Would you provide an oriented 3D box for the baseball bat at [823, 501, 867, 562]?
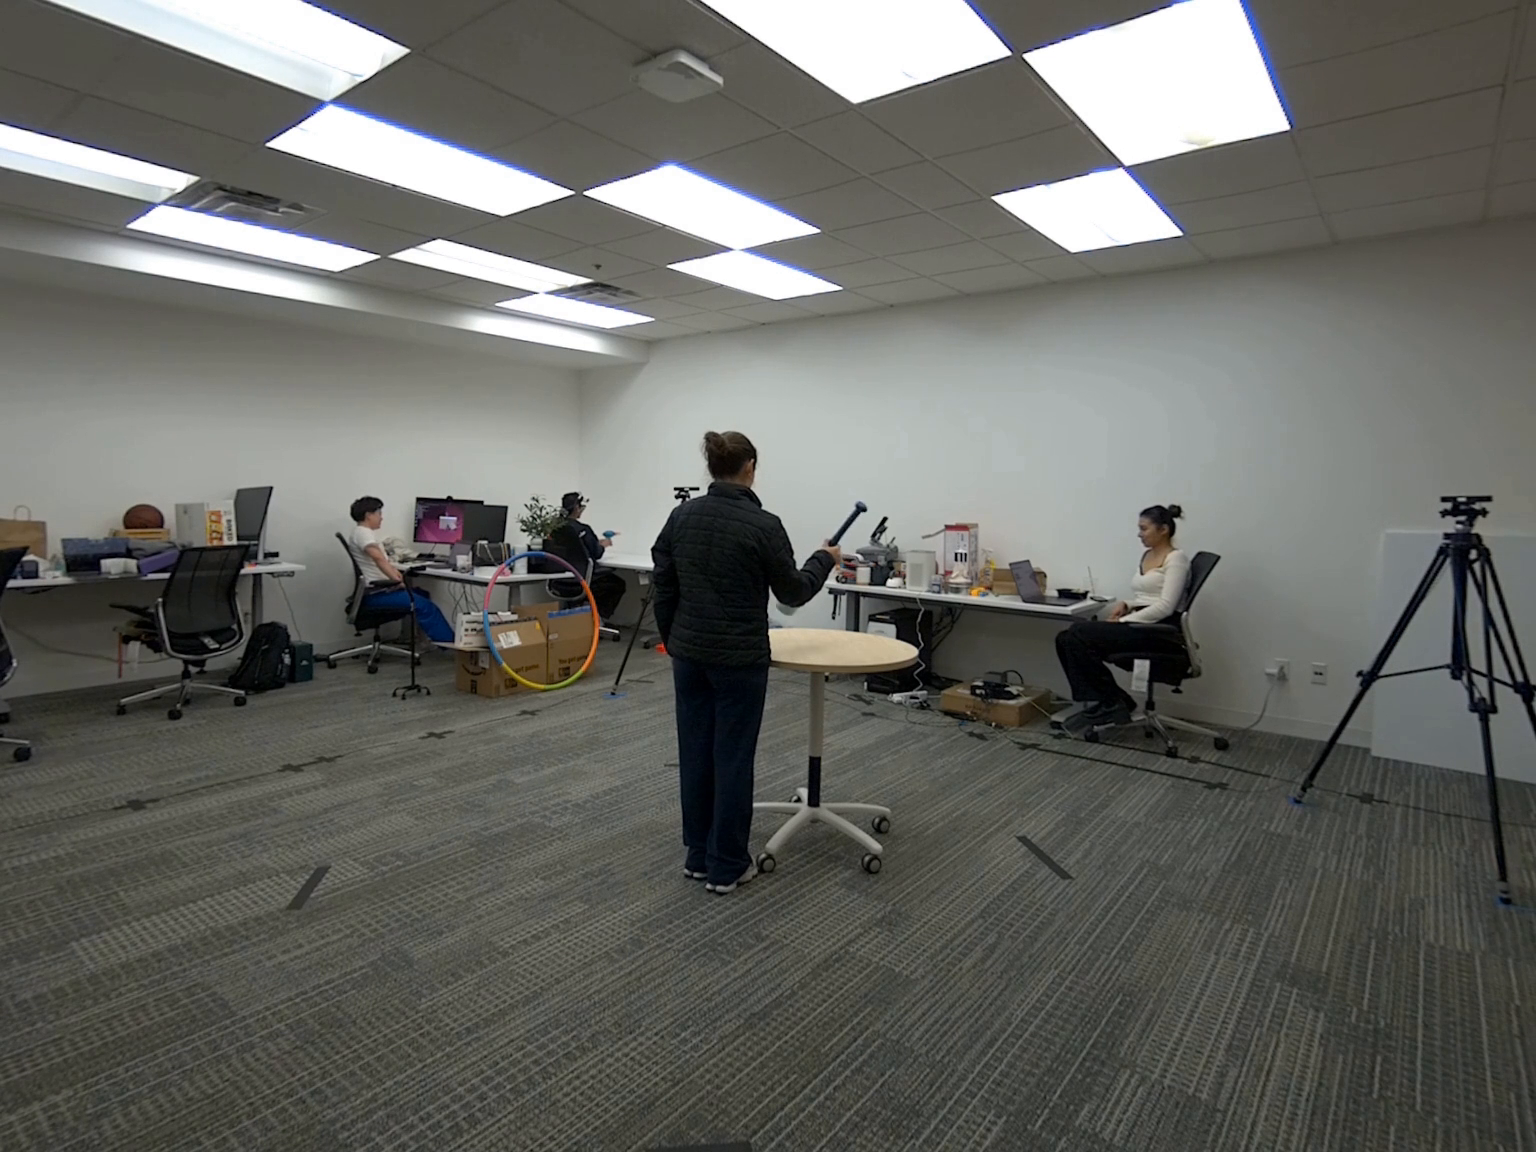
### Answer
[{"bbox_3d":[0.234,-0.071,3.282,0.087,0.541,0.091,29,23,-16],"label":"baseball bat"}]
